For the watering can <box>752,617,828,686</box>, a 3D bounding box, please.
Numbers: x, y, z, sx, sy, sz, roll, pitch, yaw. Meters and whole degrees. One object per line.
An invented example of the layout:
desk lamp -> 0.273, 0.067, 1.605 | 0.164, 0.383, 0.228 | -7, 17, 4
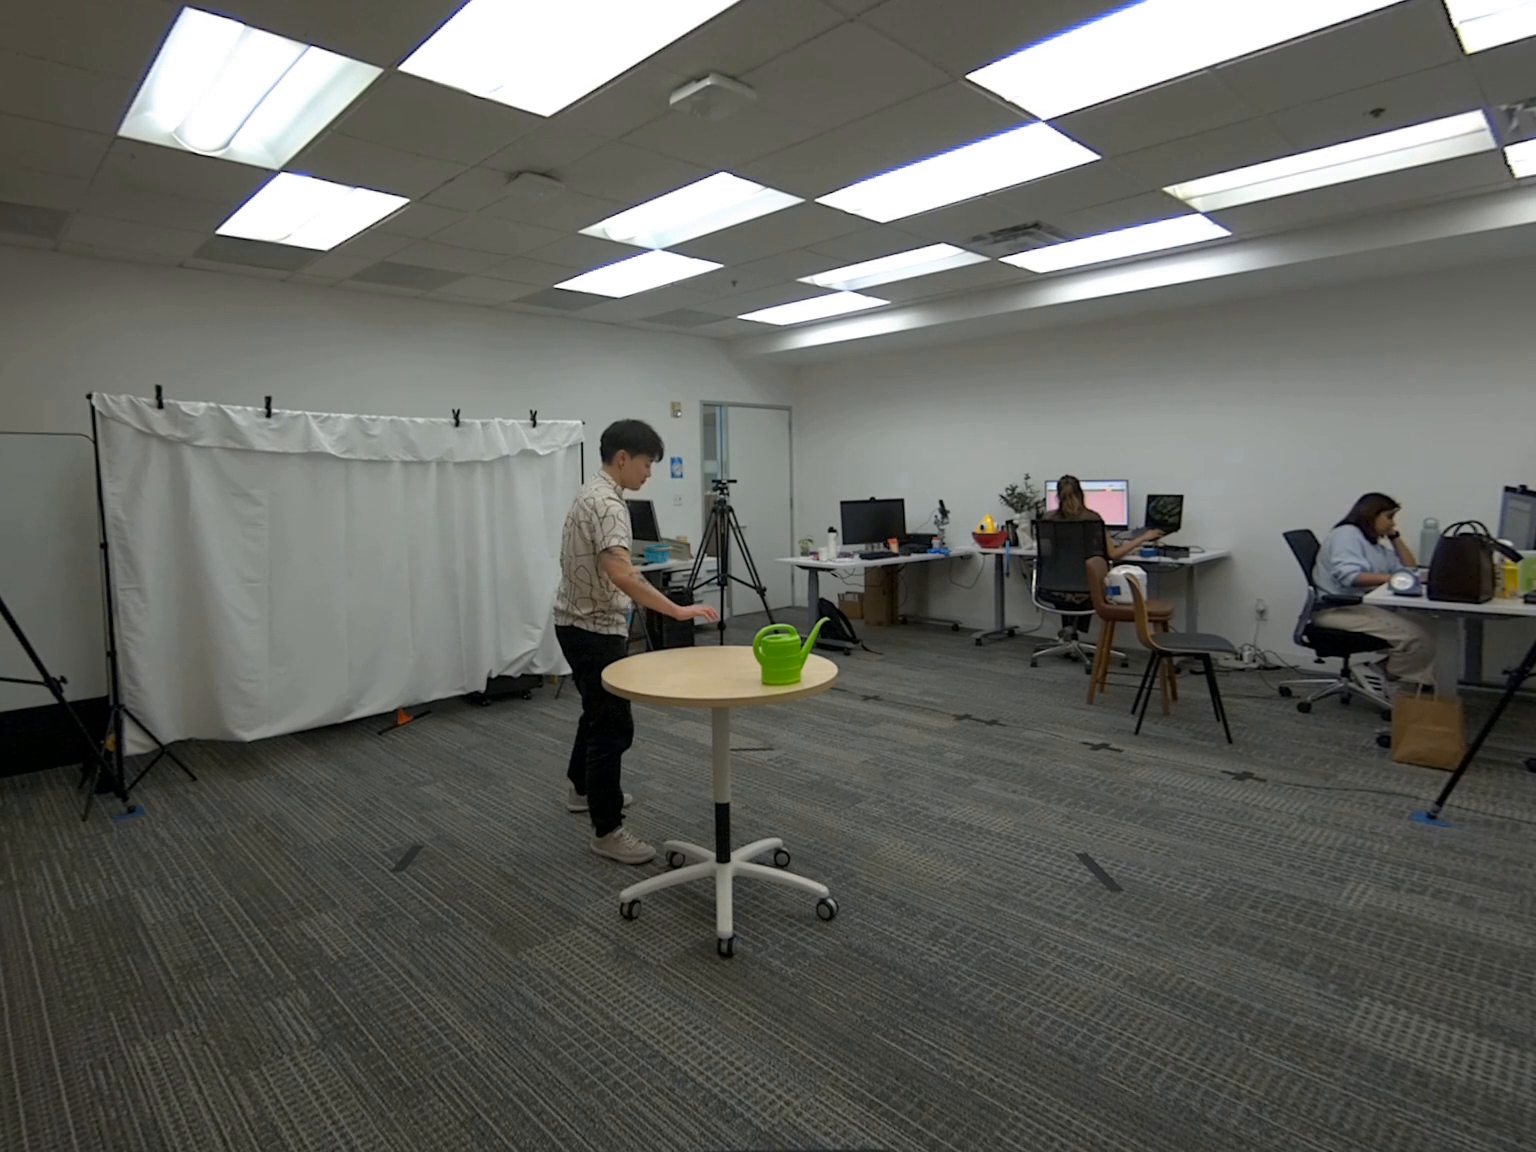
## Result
watering can -> 0.091, 0.228, 2.601 | 0.274, 0.177, 0.099 | -6, 1, -16
